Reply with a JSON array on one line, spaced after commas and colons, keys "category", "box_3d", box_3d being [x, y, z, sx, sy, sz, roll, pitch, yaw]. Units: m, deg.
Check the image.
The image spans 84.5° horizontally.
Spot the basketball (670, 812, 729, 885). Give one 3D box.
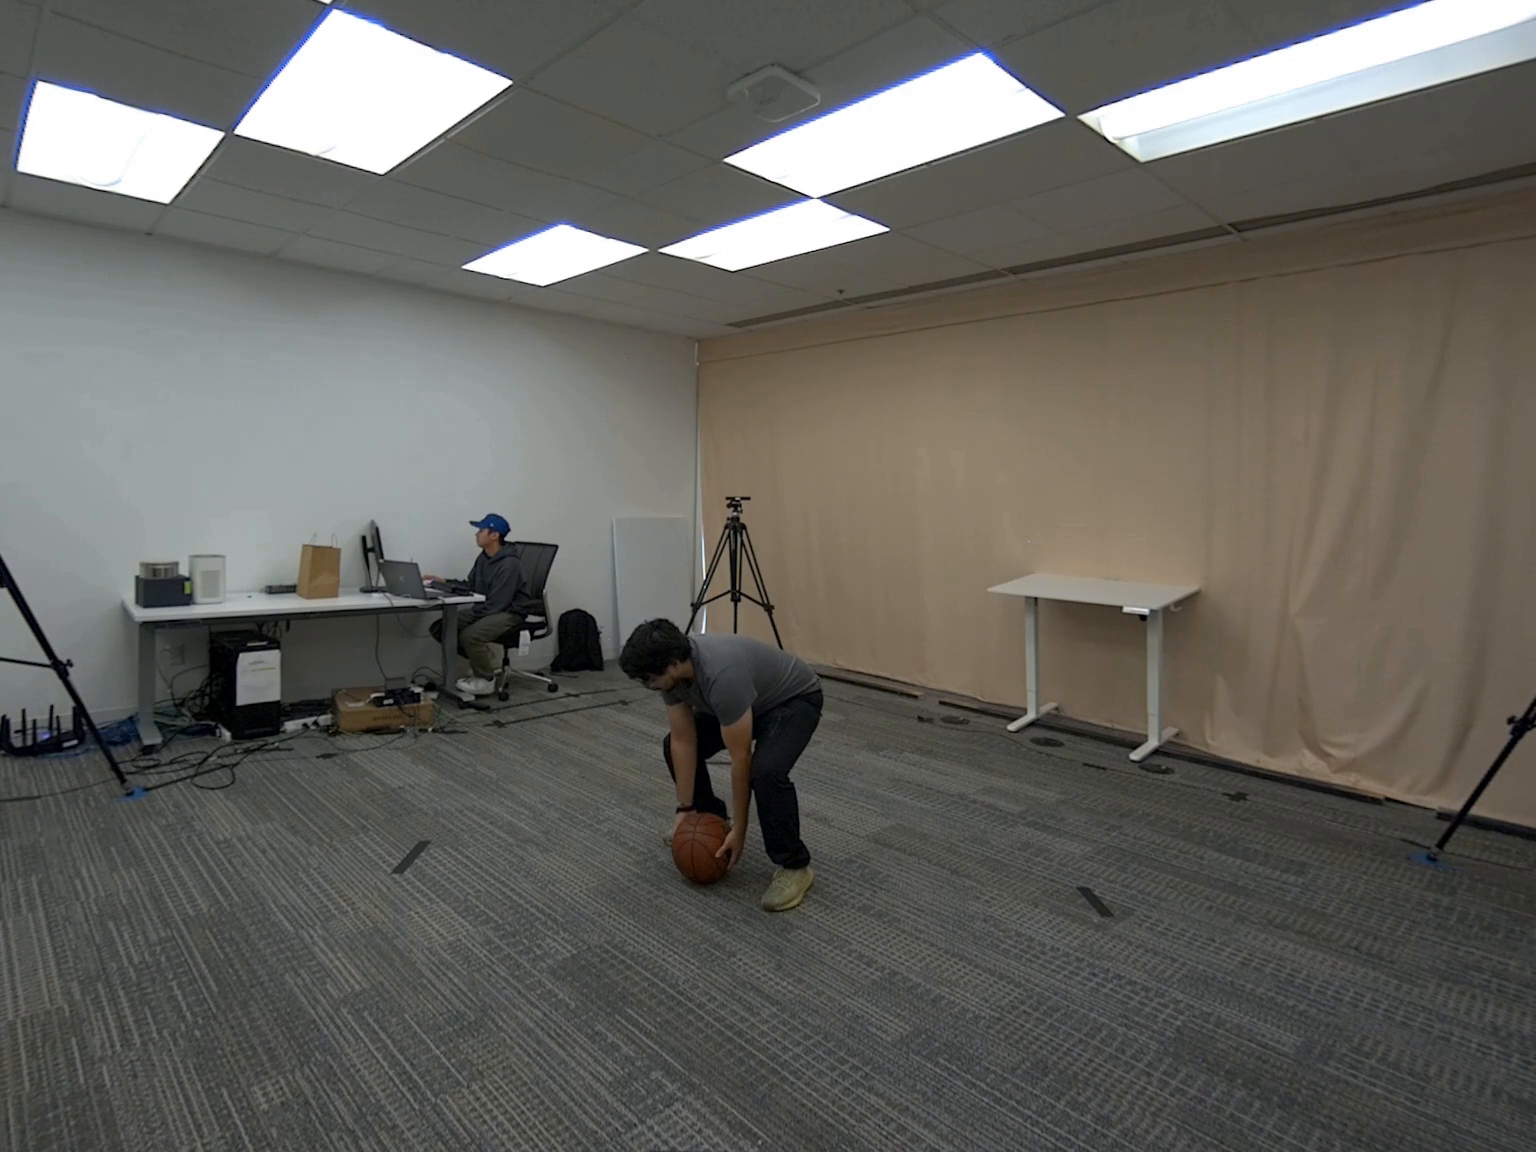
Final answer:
[{"category": "basketball", "box_3d": [-0.241, 0.974, 3.059, 0.236, 0.235, 0.237, 1, 4, -1]}]
